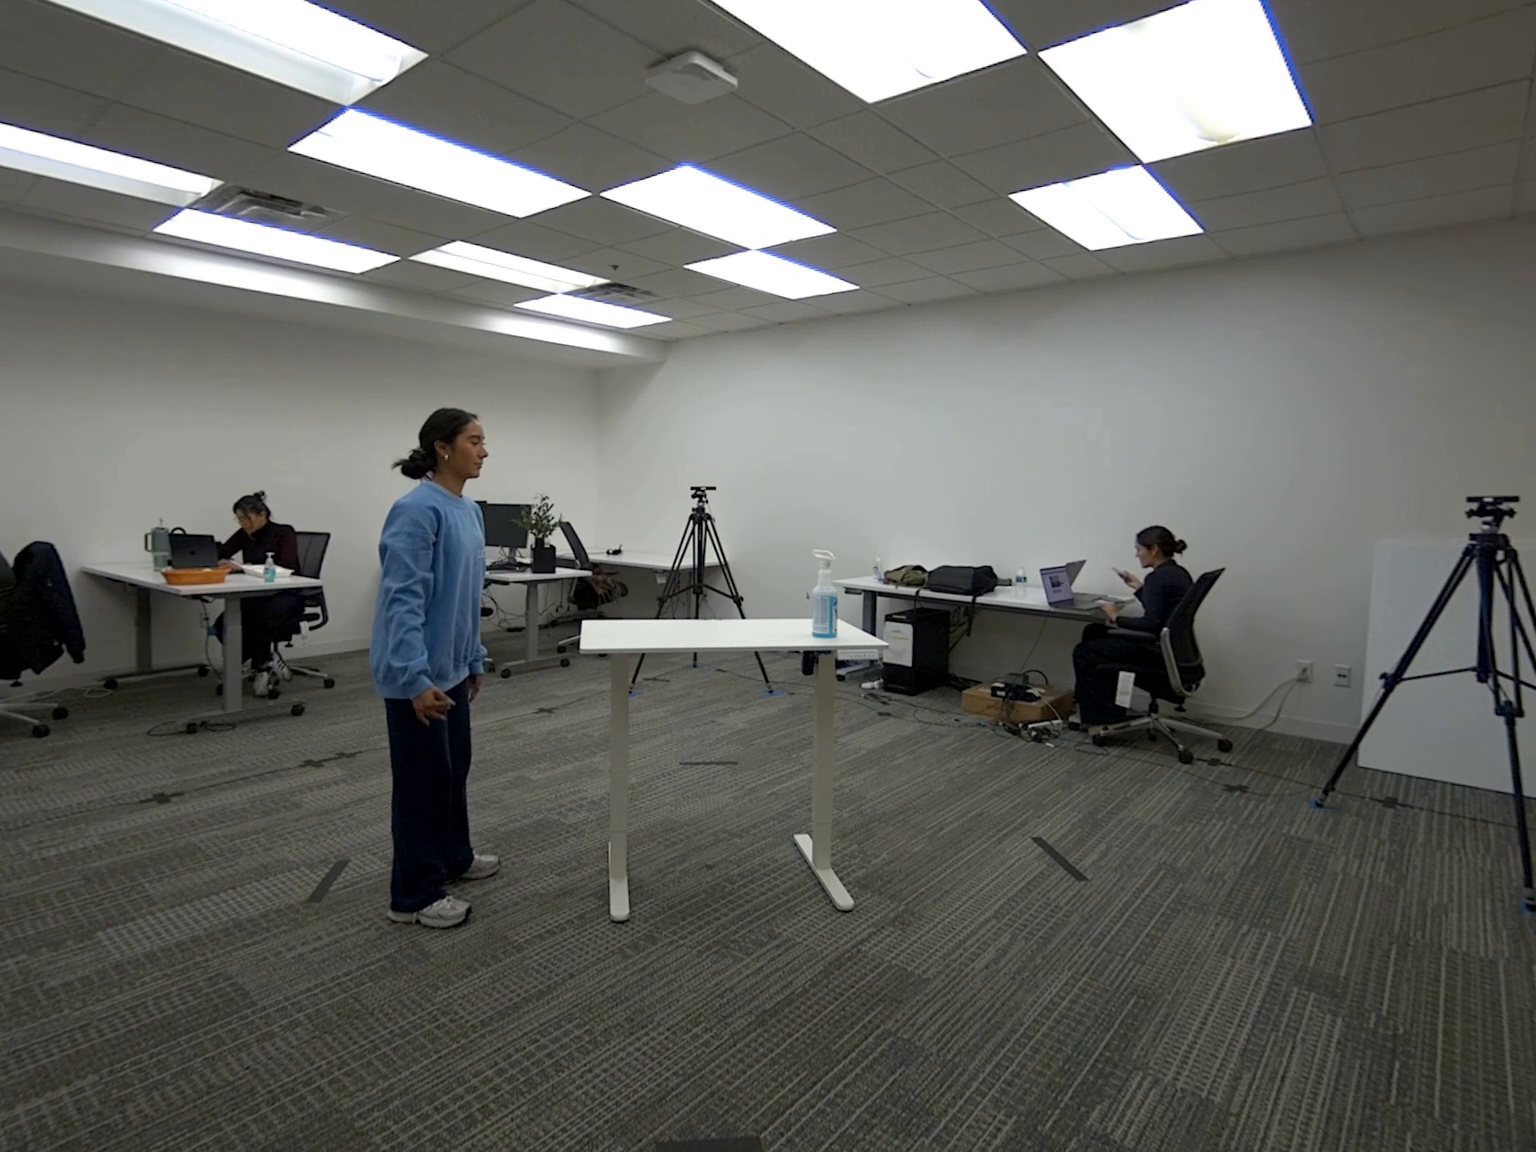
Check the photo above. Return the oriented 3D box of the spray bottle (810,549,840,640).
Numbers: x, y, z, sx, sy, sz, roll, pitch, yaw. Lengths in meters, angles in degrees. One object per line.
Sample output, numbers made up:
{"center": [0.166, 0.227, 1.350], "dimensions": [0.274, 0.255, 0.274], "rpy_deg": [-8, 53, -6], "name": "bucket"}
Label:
{"center": [0.188, 0.062, 2.929], "dimensions": [0.085, 0.297, 0.092], "rpy_deg": [-1, 1, -25], "name": "spray bottle"}
